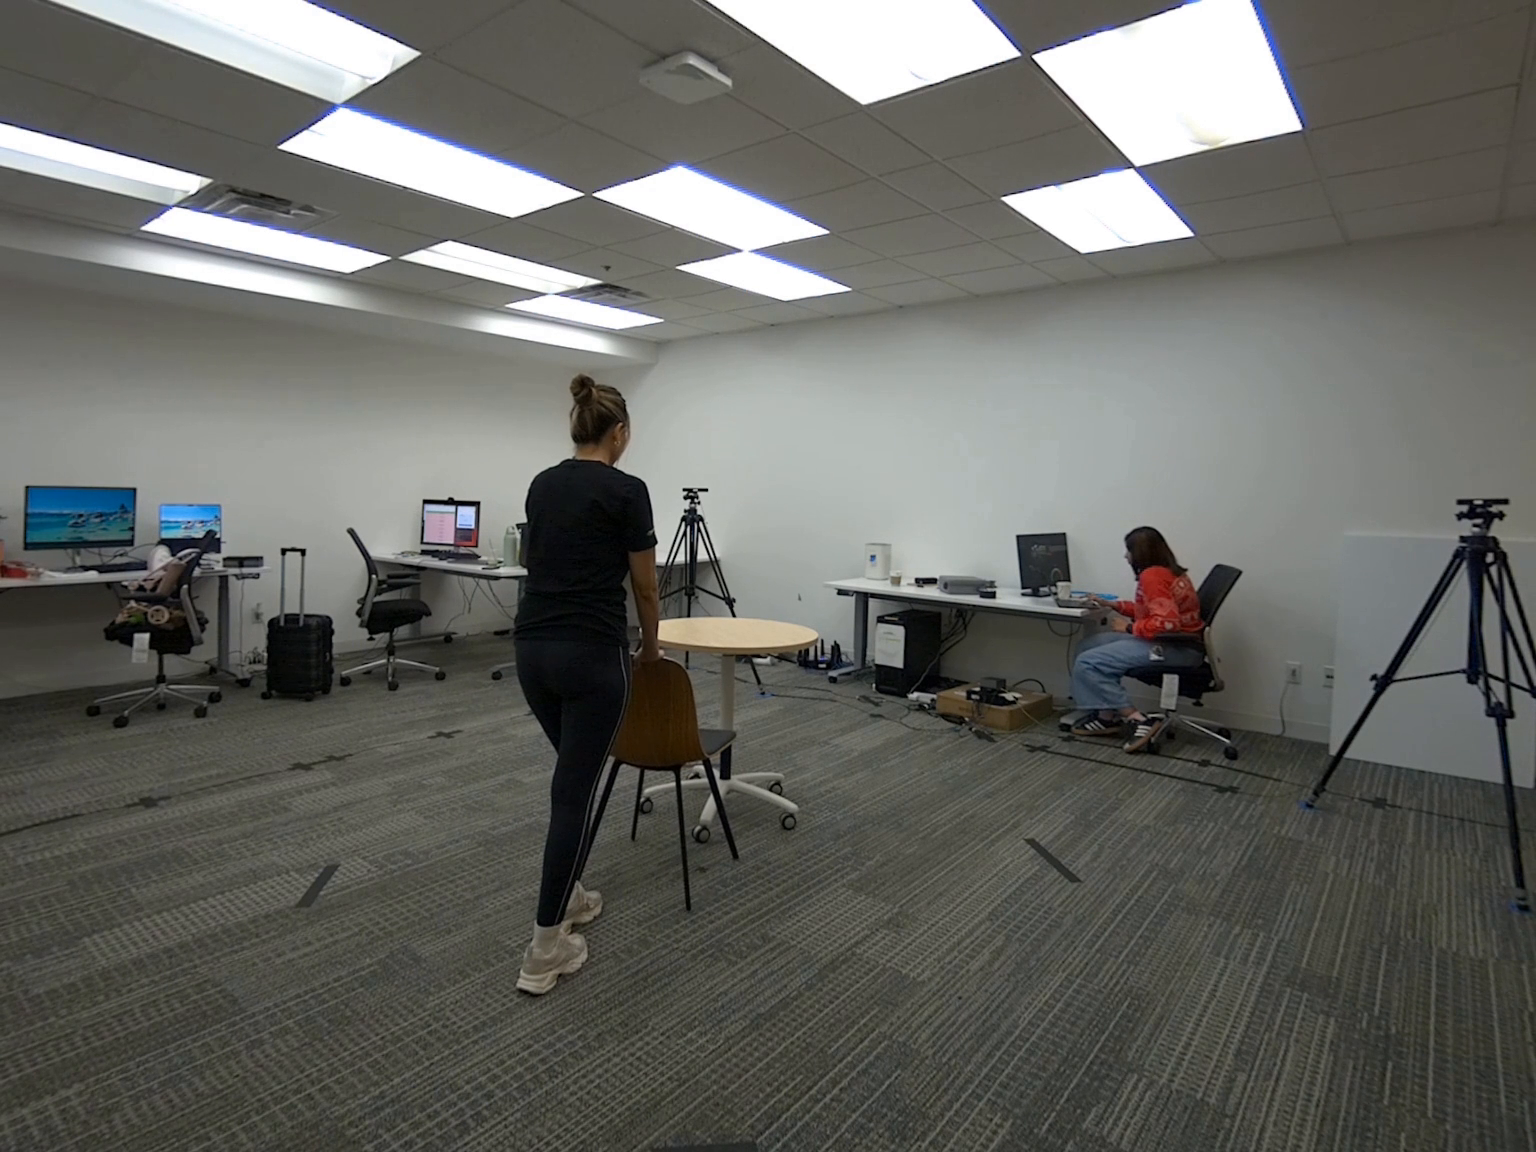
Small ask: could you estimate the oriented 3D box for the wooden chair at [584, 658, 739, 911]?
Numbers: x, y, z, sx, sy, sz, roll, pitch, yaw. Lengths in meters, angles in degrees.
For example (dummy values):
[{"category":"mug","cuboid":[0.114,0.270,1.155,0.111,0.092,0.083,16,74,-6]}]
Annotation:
[{"category":"wooden chair","cuboid":[-0.399,0.642,3.064,0.489,0.872,0.515,2,7,21]}]
